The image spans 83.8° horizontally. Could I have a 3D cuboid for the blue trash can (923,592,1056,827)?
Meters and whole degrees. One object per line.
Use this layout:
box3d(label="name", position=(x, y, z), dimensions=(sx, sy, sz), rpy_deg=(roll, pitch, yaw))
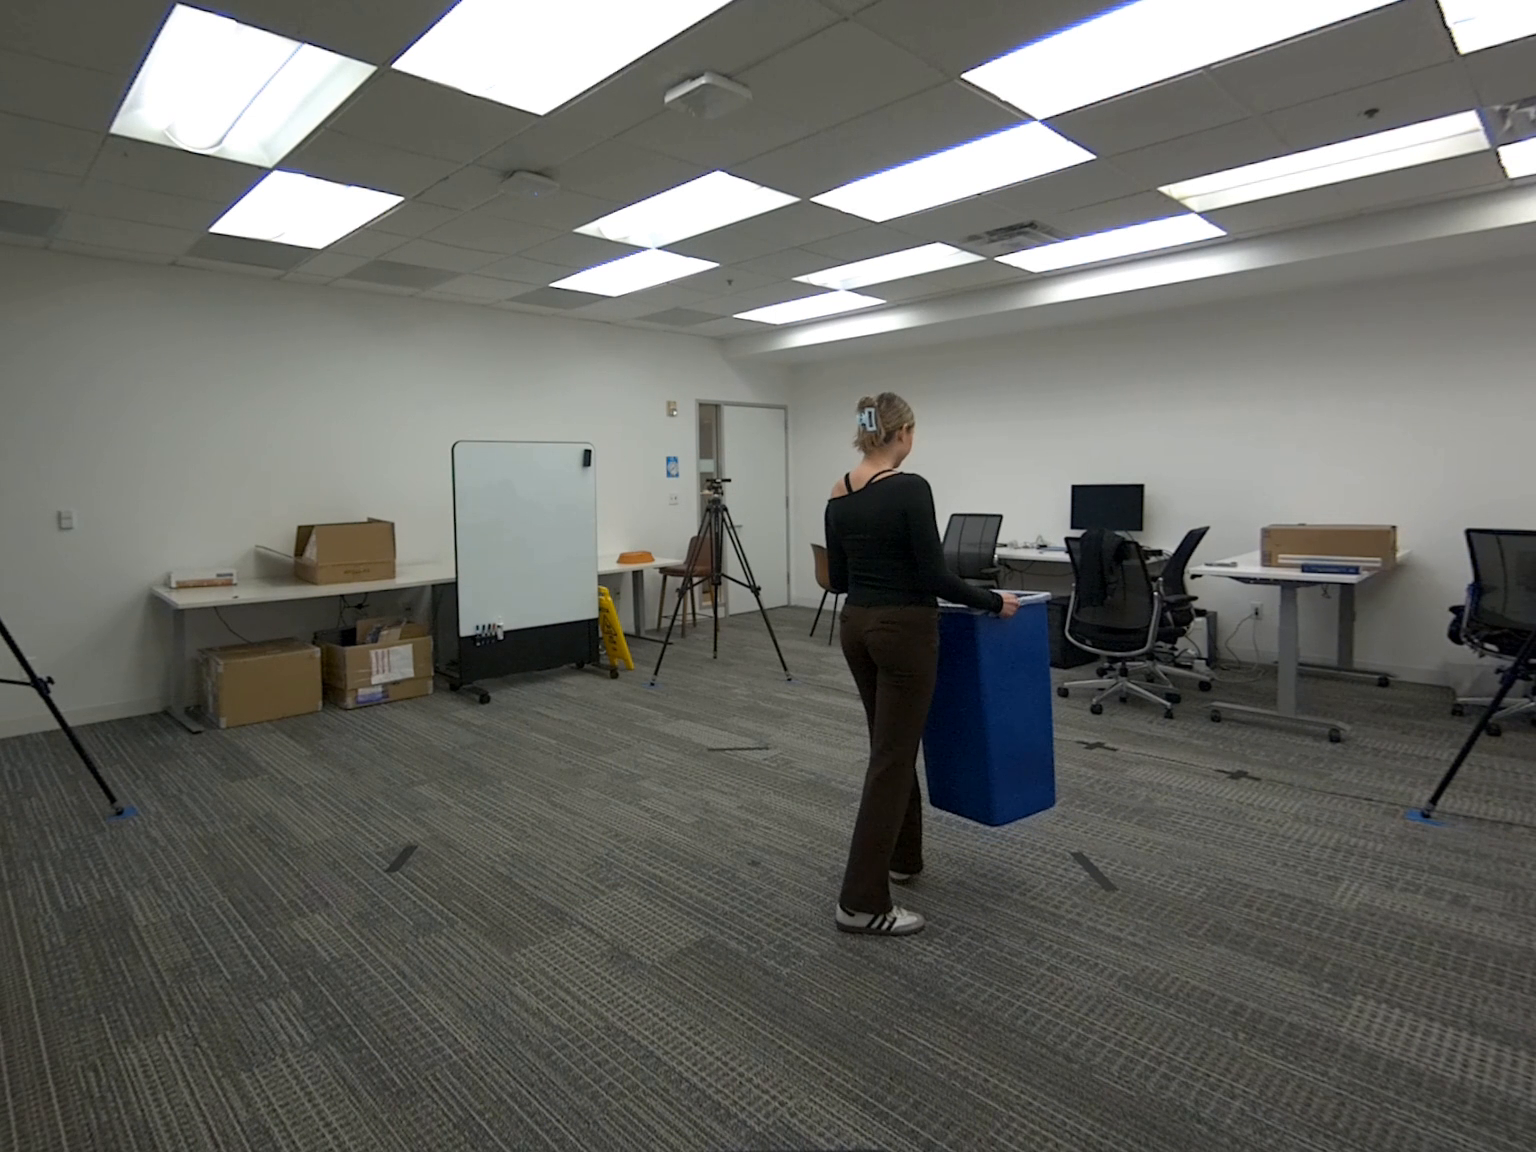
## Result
box3d(label="blue trash can", position=(0.726, 0.428, 2.919), dimensions=(0.369, 0.713, 0.383), rpy_deg=(-5, 2, -31))
